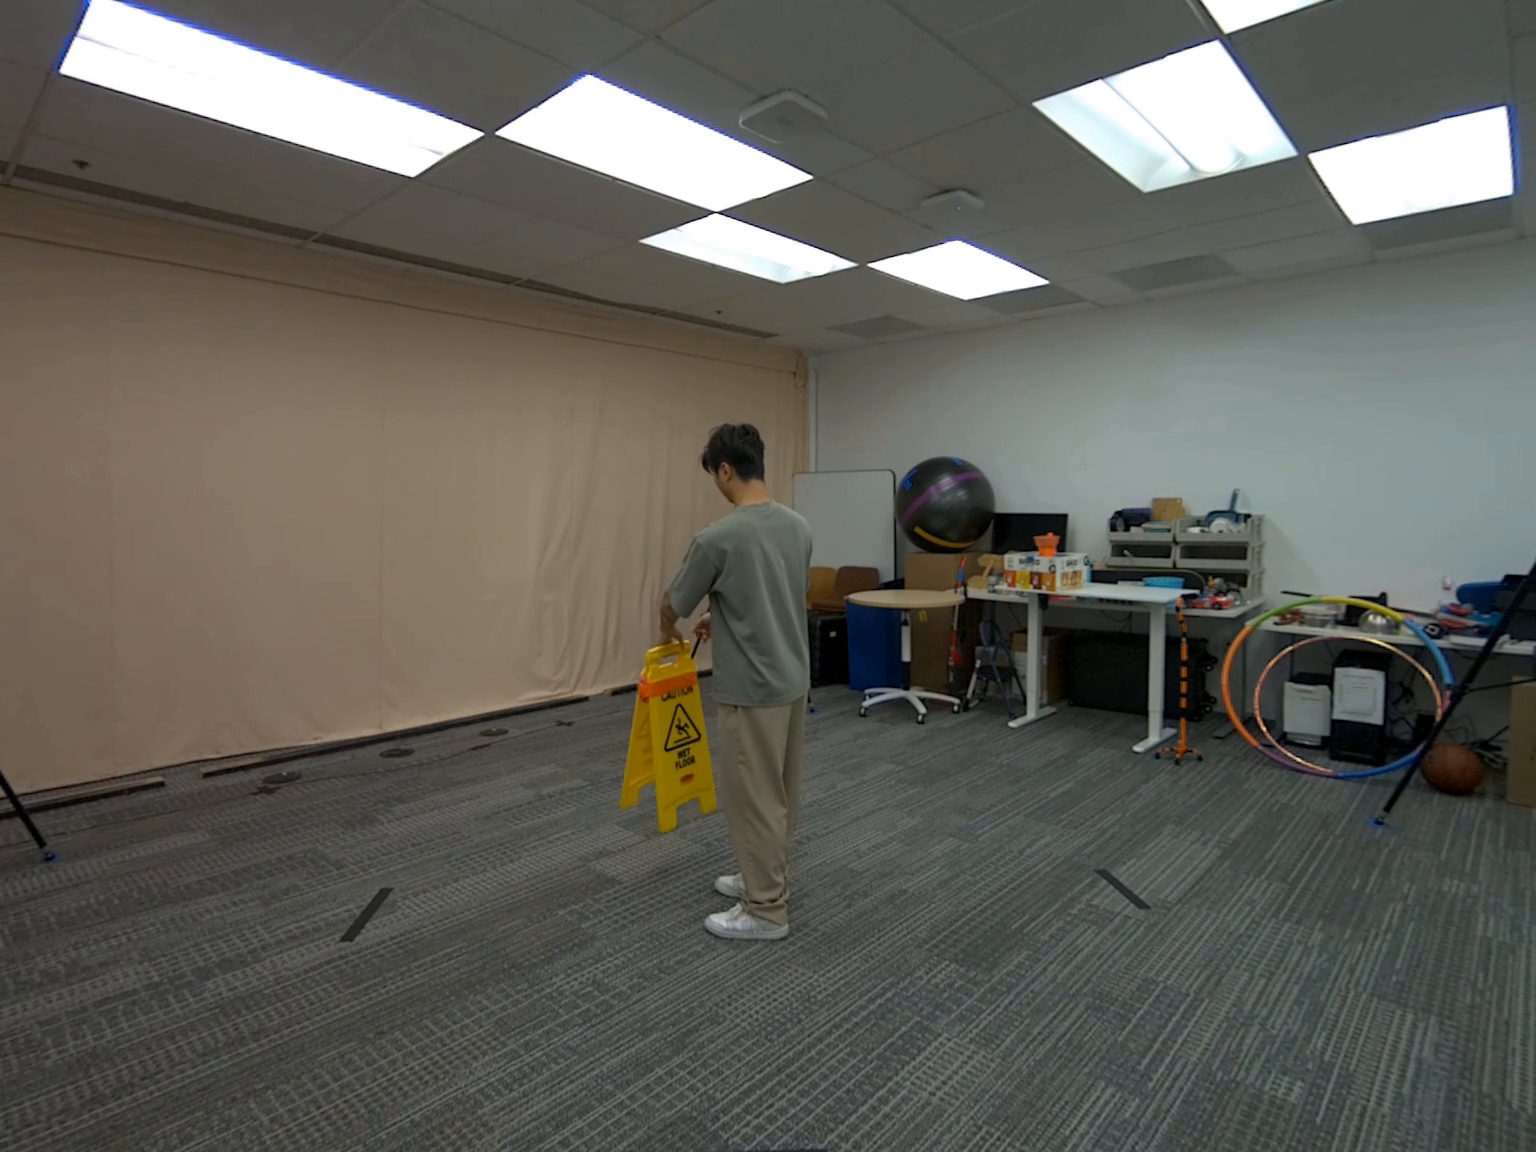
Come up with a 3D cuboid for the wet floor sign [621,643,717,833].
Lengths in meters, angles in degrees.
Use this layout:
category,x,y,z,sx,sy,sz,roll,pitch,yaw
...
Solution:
category,x,y,z,sx,sy,sz,roll,pitch,yaw
wet floor sign,-0.365,0.576,3.134,0.300,0.641,0.274,12,16,44
